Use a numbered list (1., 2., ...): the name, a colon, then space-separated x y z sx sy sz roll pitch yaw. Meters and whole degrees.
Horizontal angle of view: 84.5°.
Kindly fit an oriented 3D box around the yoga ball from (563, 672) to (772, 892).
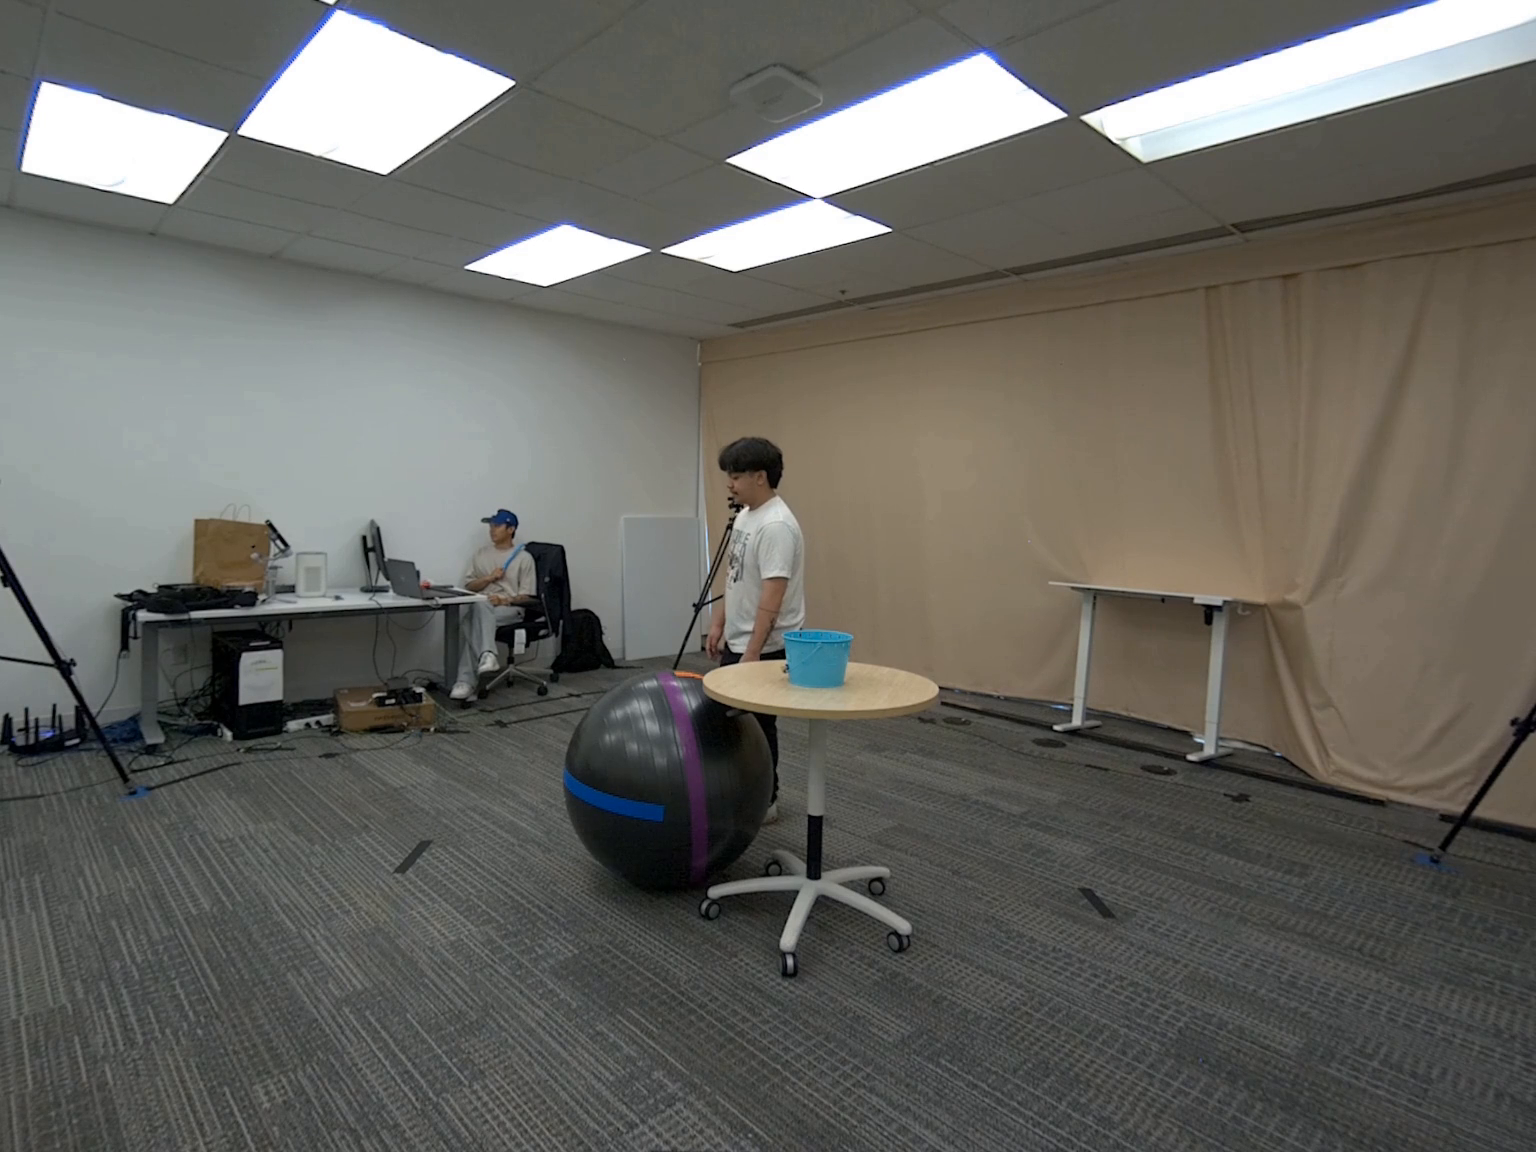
1. yoga ball: -0.369 0.736 3.075 0.757 0.756 0.761 1 4 -1
